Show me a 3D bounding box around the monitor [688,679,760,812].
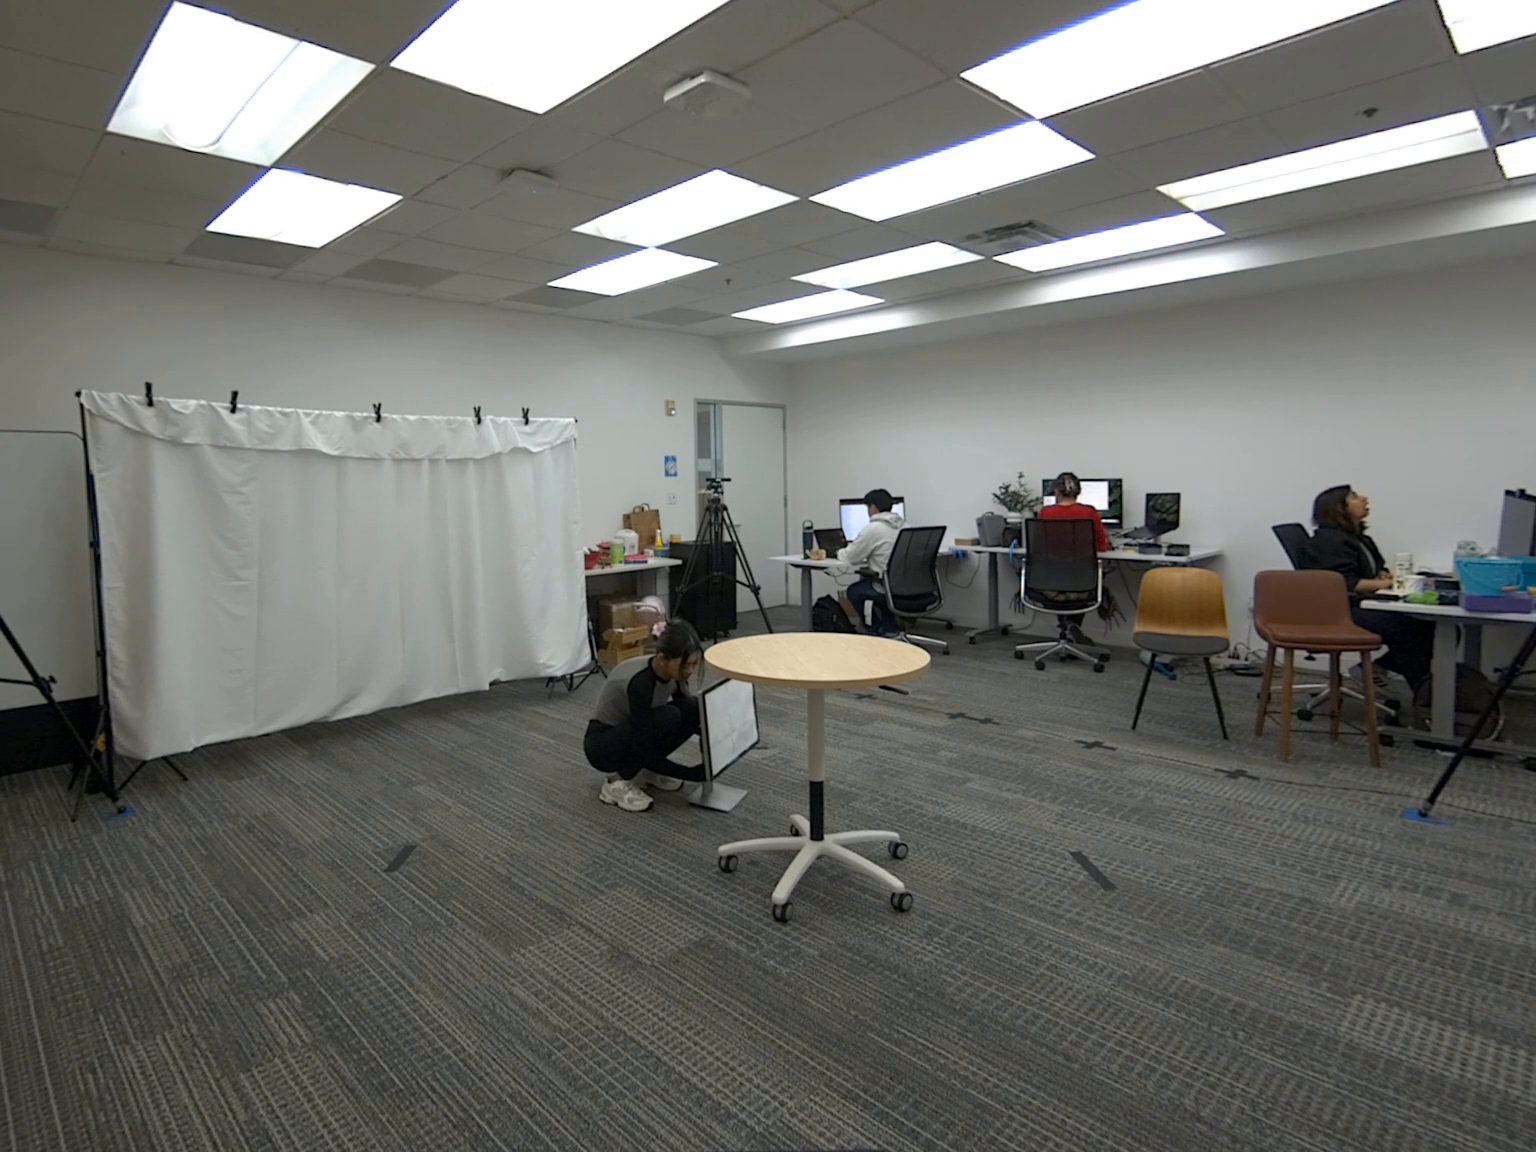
[{"bbox_3d":[-0.202,0.703,3.693,0.191,0.520,0.531,7,7,18],"label":"monitor"}]
